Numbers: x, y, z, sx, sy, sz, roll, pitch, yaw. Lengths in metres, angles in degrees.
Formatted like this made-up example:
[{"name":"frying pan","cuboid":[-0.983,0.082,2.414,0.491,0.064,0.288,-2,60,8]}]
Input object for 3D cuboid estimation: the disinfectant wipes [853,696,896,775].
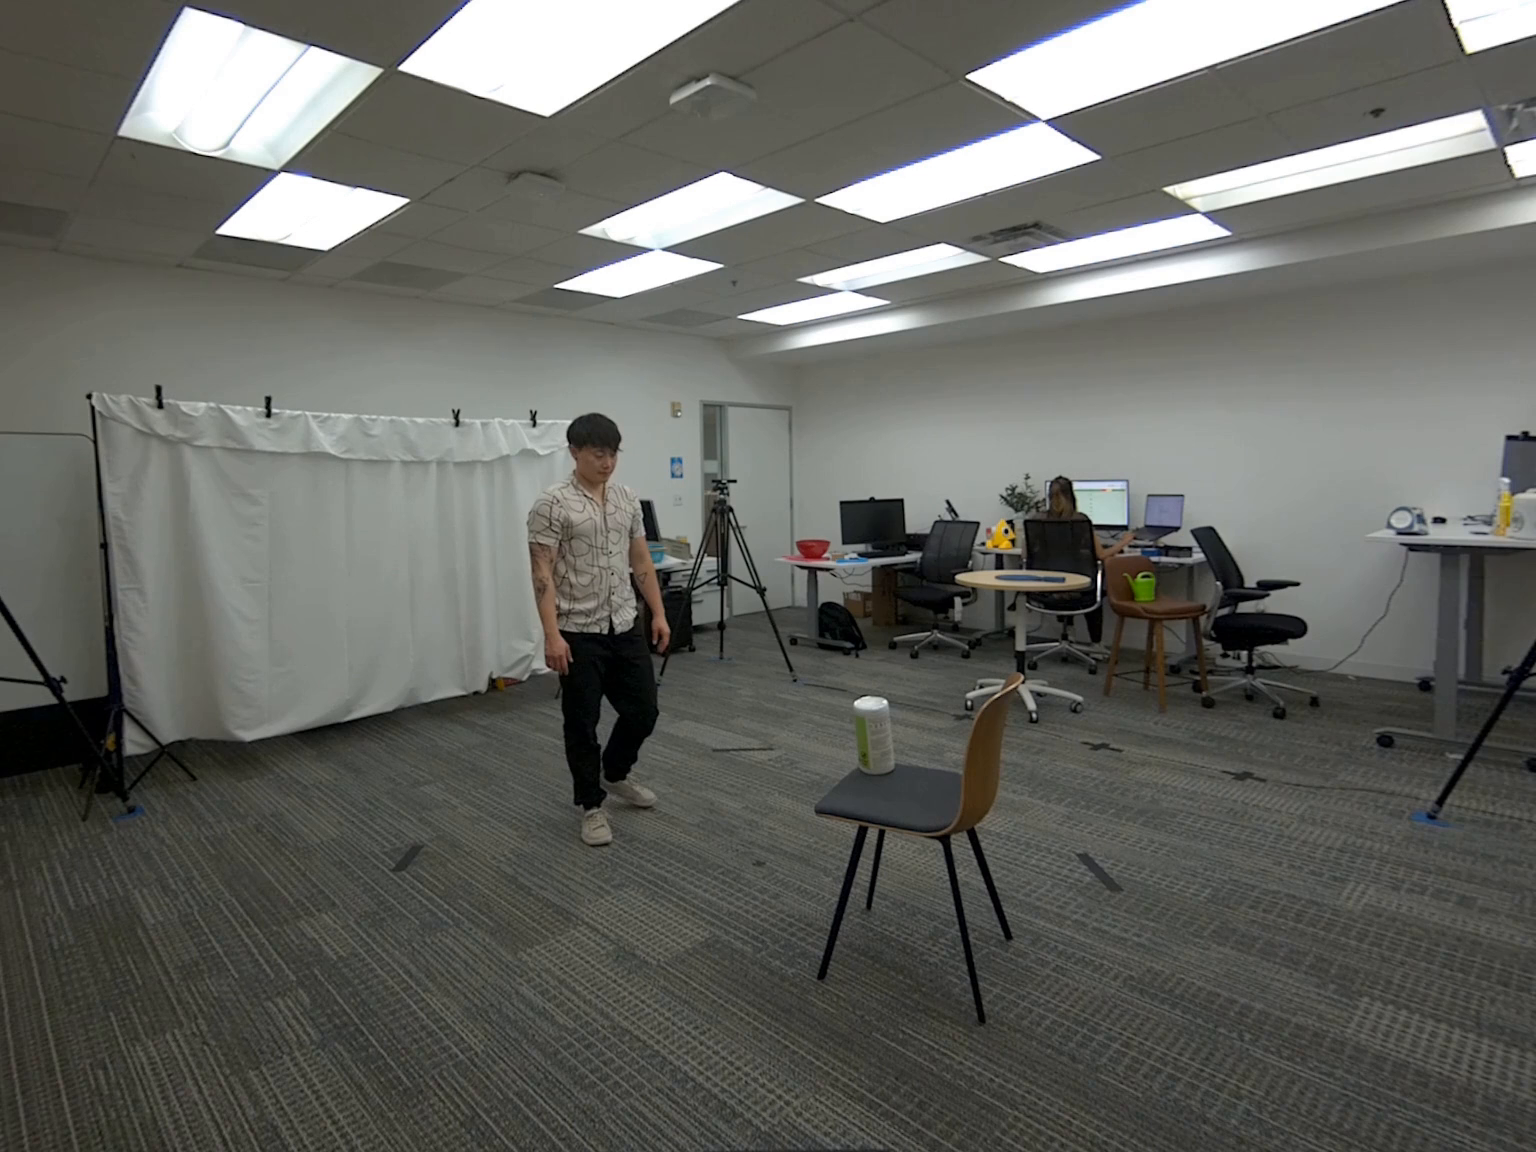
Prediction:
[{"name":"disinfectant wipes","cuboid":[0.336,0.497,2.645,0.118,0.216,0.119,-7,8,-1]}]
